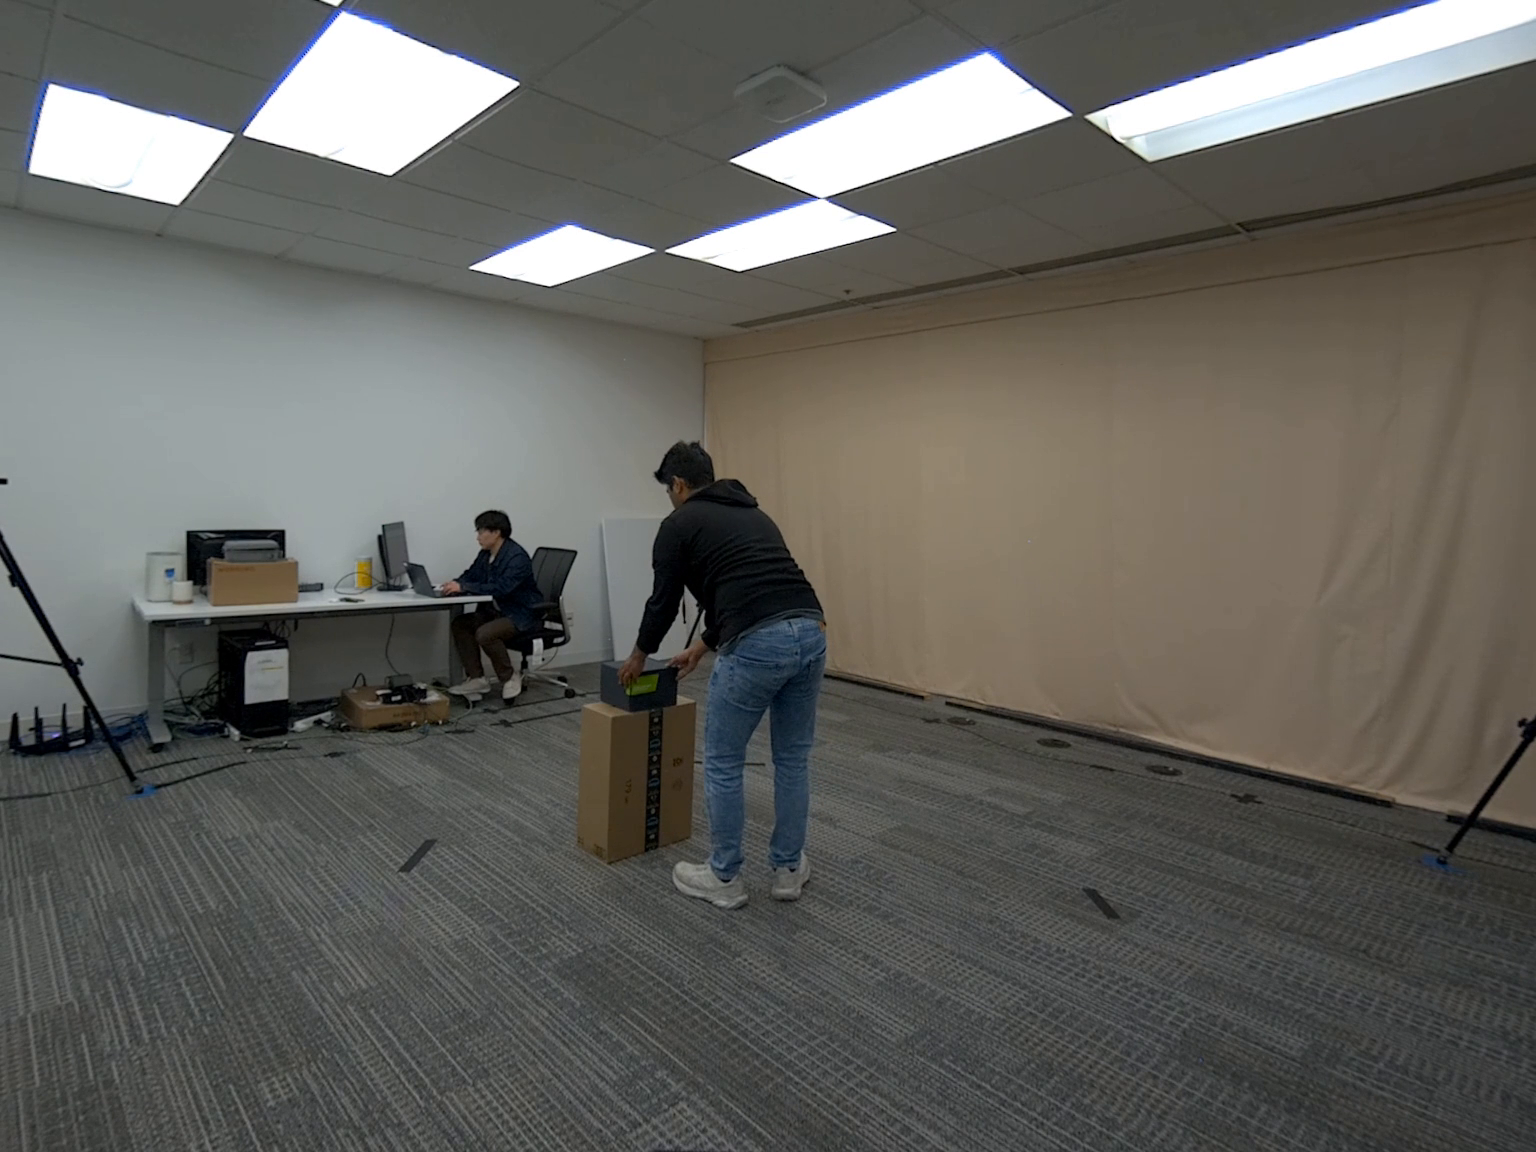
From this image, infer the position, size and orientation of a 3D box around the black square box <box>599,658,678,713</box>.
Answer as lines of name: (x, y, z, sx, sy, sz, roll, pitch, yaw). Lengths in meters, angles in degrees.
black square box: (-0.514, 0.425, 3.362, 0.222, 0.155, 0.223, -2, 7, -43)
